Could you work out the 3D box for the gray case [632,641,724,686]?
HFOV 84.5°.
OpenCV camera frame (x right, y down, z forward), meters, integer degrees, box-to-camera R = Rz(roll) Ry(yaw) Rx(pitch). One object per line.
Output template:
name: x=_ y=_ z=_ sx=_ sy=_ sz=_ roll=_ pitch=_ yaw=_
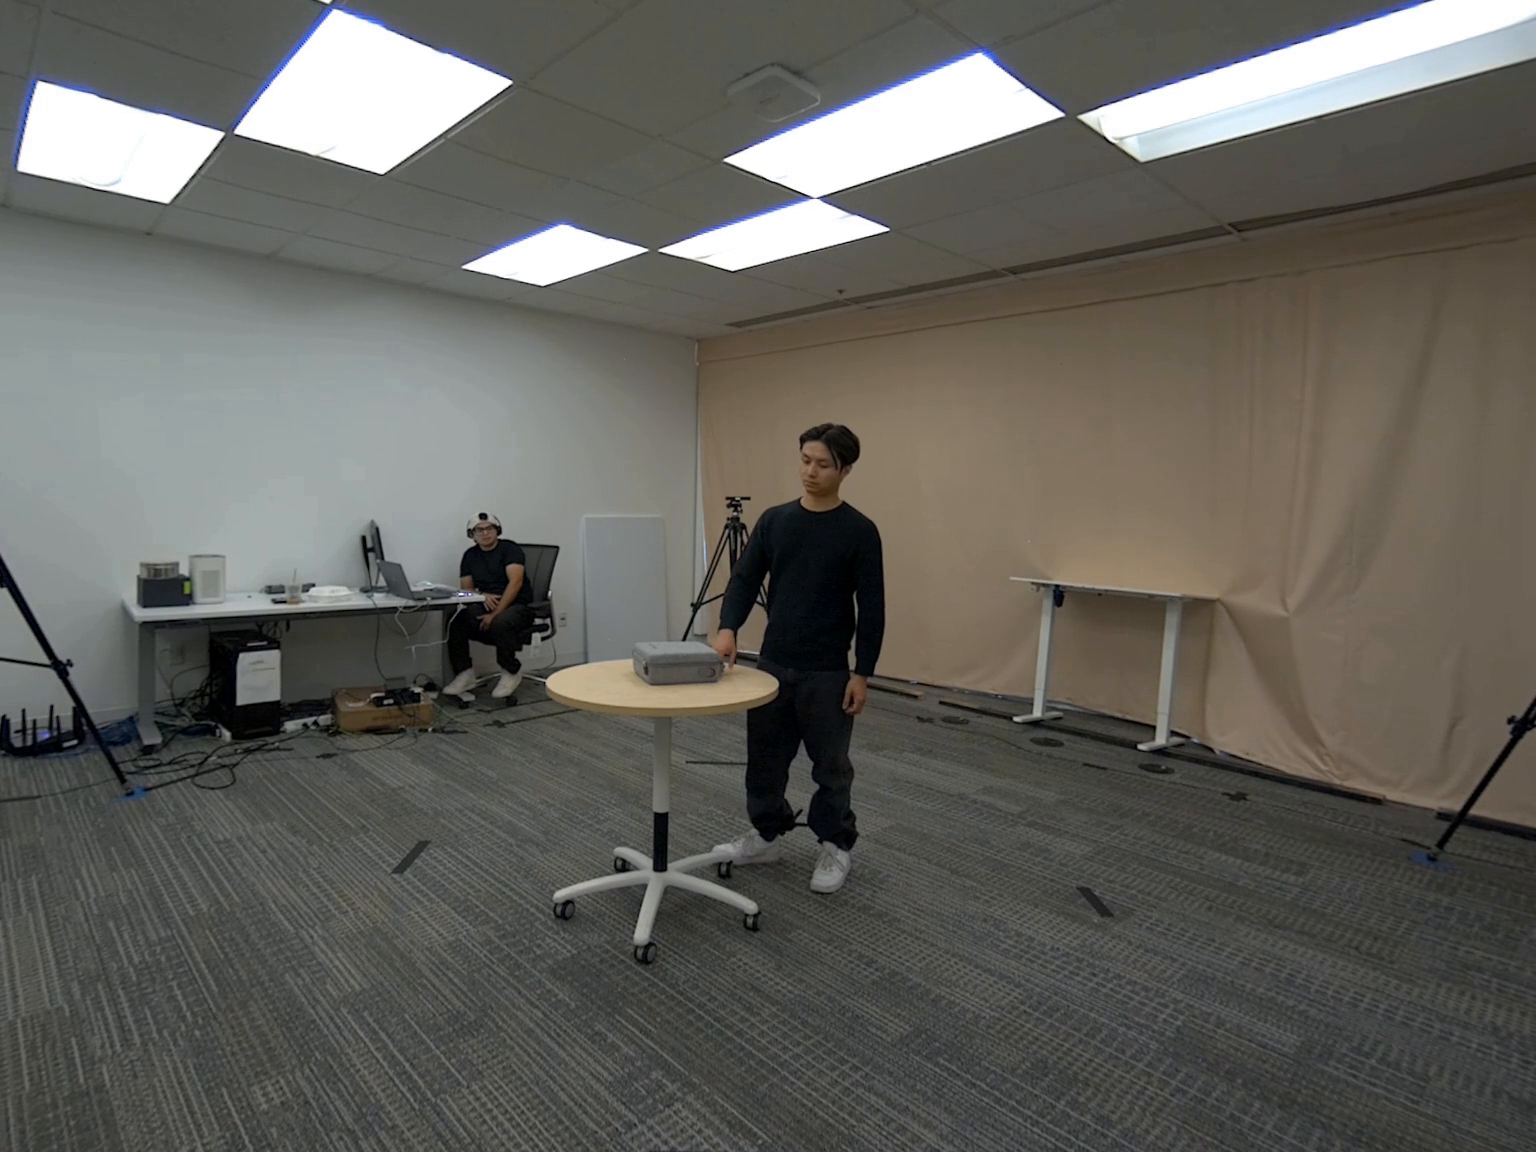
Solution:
gray case: x=-0.319 y=0.290 z=2.844 sx=0.257 sy=0.104 sz=0.261 roll=0 pitch=4 yaw=-19
